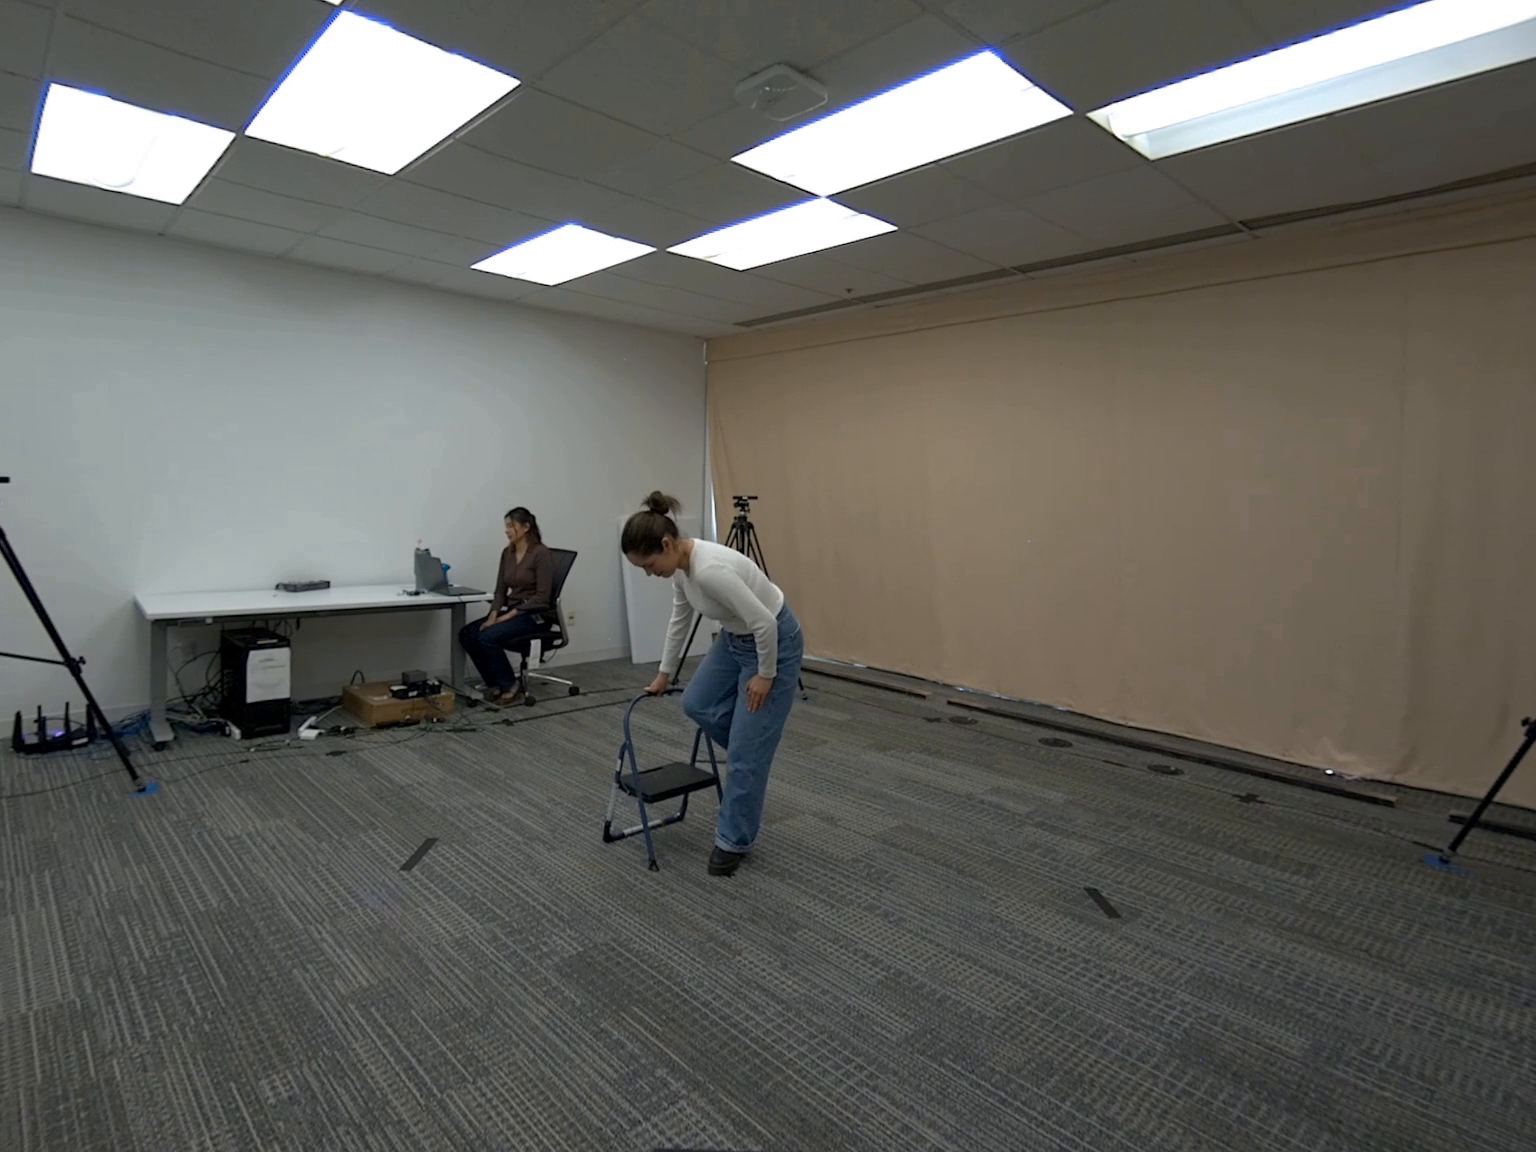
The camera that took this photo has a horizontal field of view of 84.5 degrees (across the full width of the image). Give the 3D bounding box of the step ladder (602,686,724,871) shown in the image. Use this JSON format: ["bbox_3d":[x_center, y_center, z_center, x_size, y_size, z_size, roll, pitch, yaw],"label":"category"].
[{"bbox_3d":[-0.398,0.769,3.373,0.421,0.604,0.358,-2,6,-45],"label":"step ladder"}]
